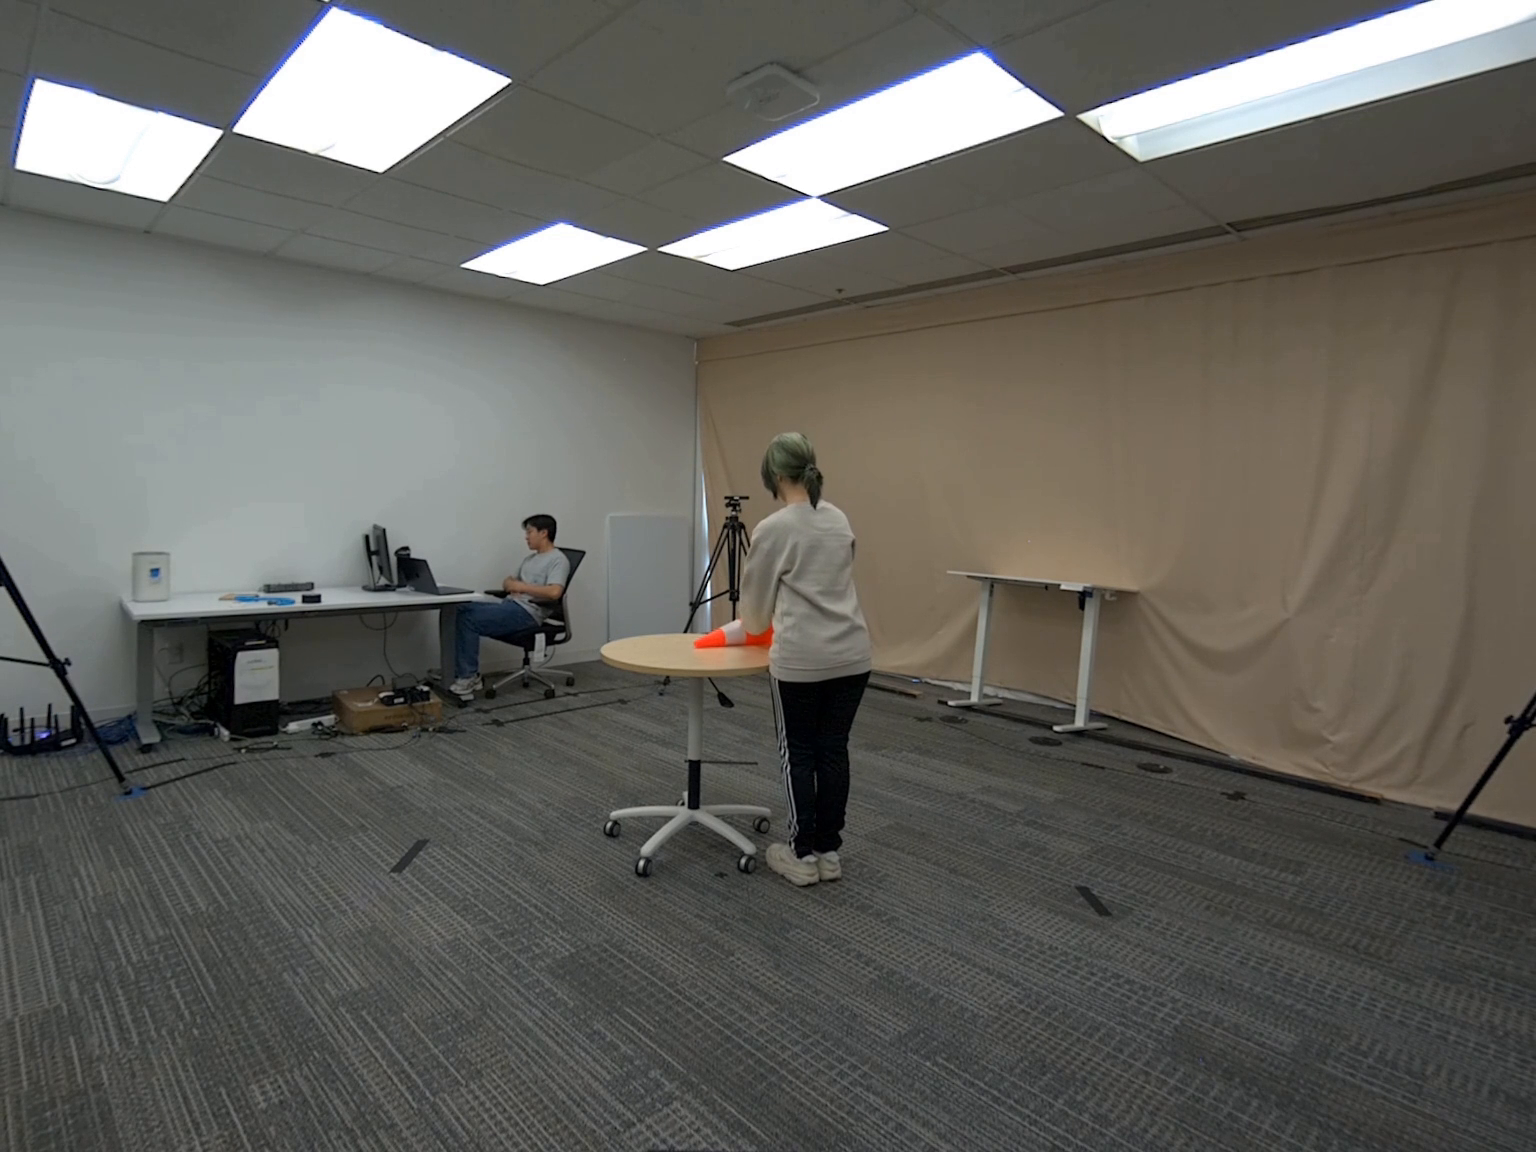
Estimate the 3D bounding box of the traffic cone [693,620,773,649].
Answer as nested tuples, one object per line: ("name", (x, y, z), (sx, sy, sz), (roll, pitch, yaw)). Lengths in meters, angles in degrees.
("traffic cone", (-0.141, 0.240, 3.480), (0.378, 0.208, 0.203), (-15, -28, -30))
